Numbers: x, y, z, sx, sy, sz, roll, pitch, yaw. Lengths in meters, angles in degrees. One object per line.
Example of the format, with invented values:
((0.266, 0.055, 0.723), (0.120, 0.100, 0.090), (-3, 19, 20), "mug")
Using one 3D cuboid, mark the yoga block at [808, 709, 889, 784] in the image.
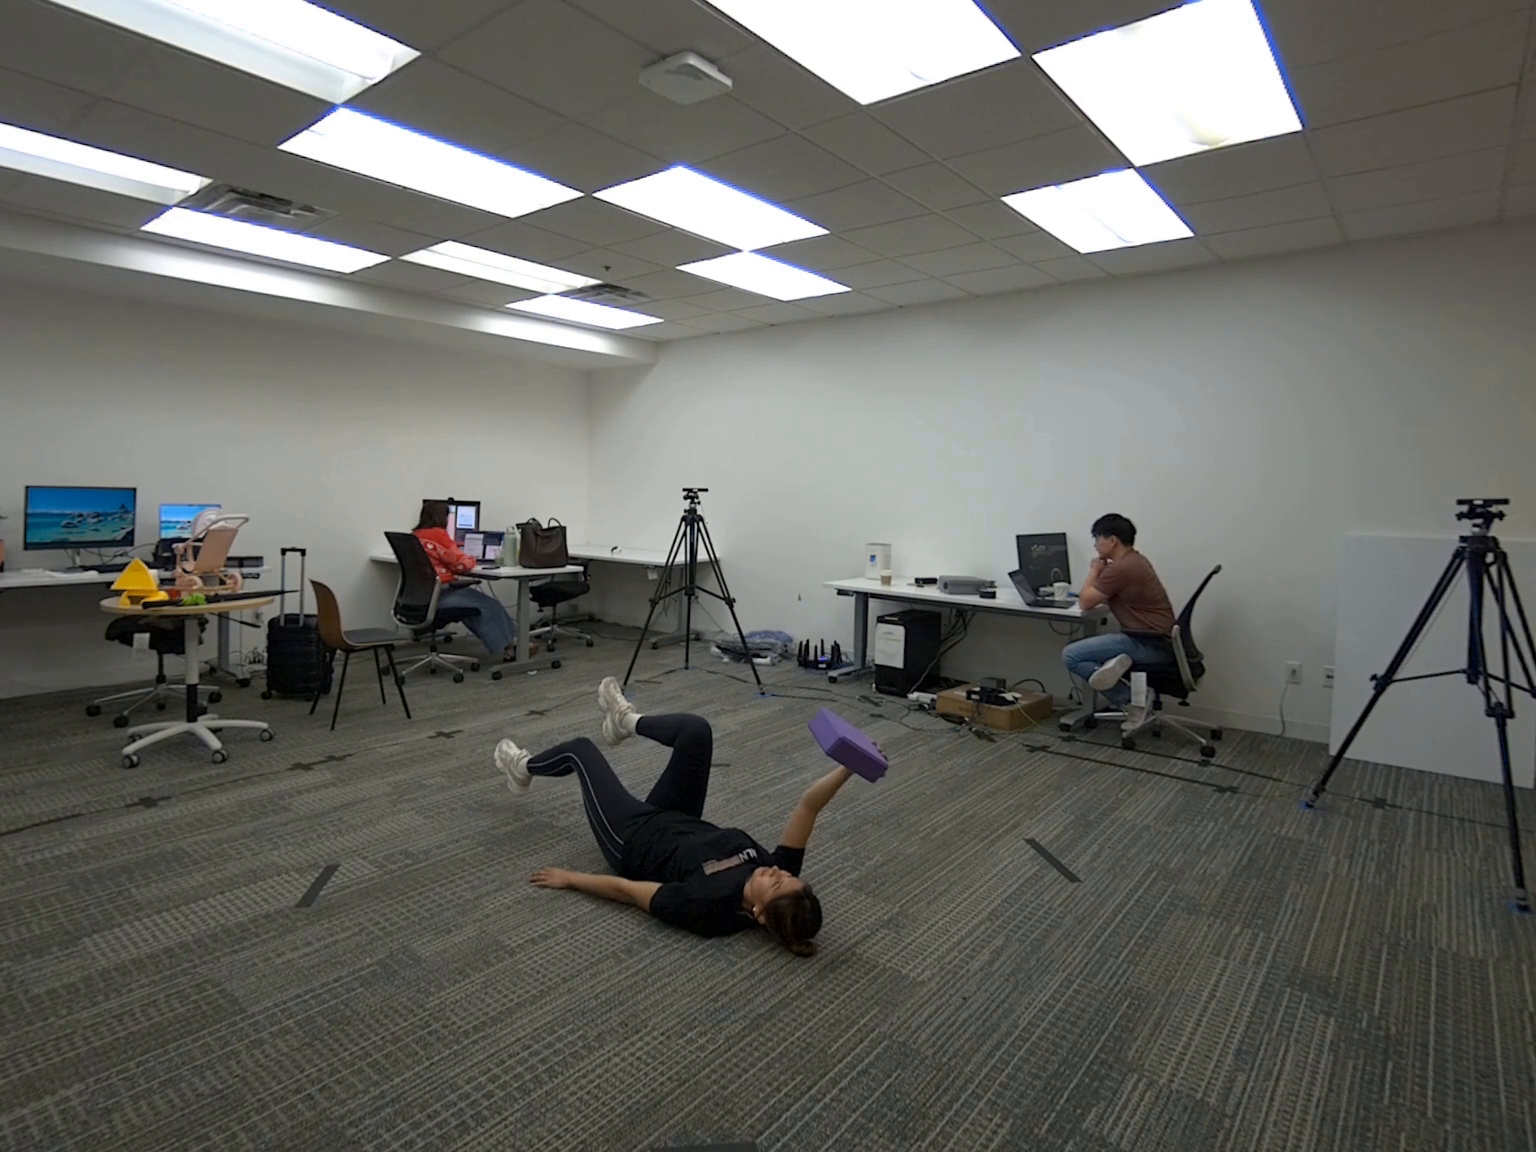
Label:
((0.221, 0.487, 2.515), (0.221, 0.076, 0.154), (39, 5, -29), "yoga block")
